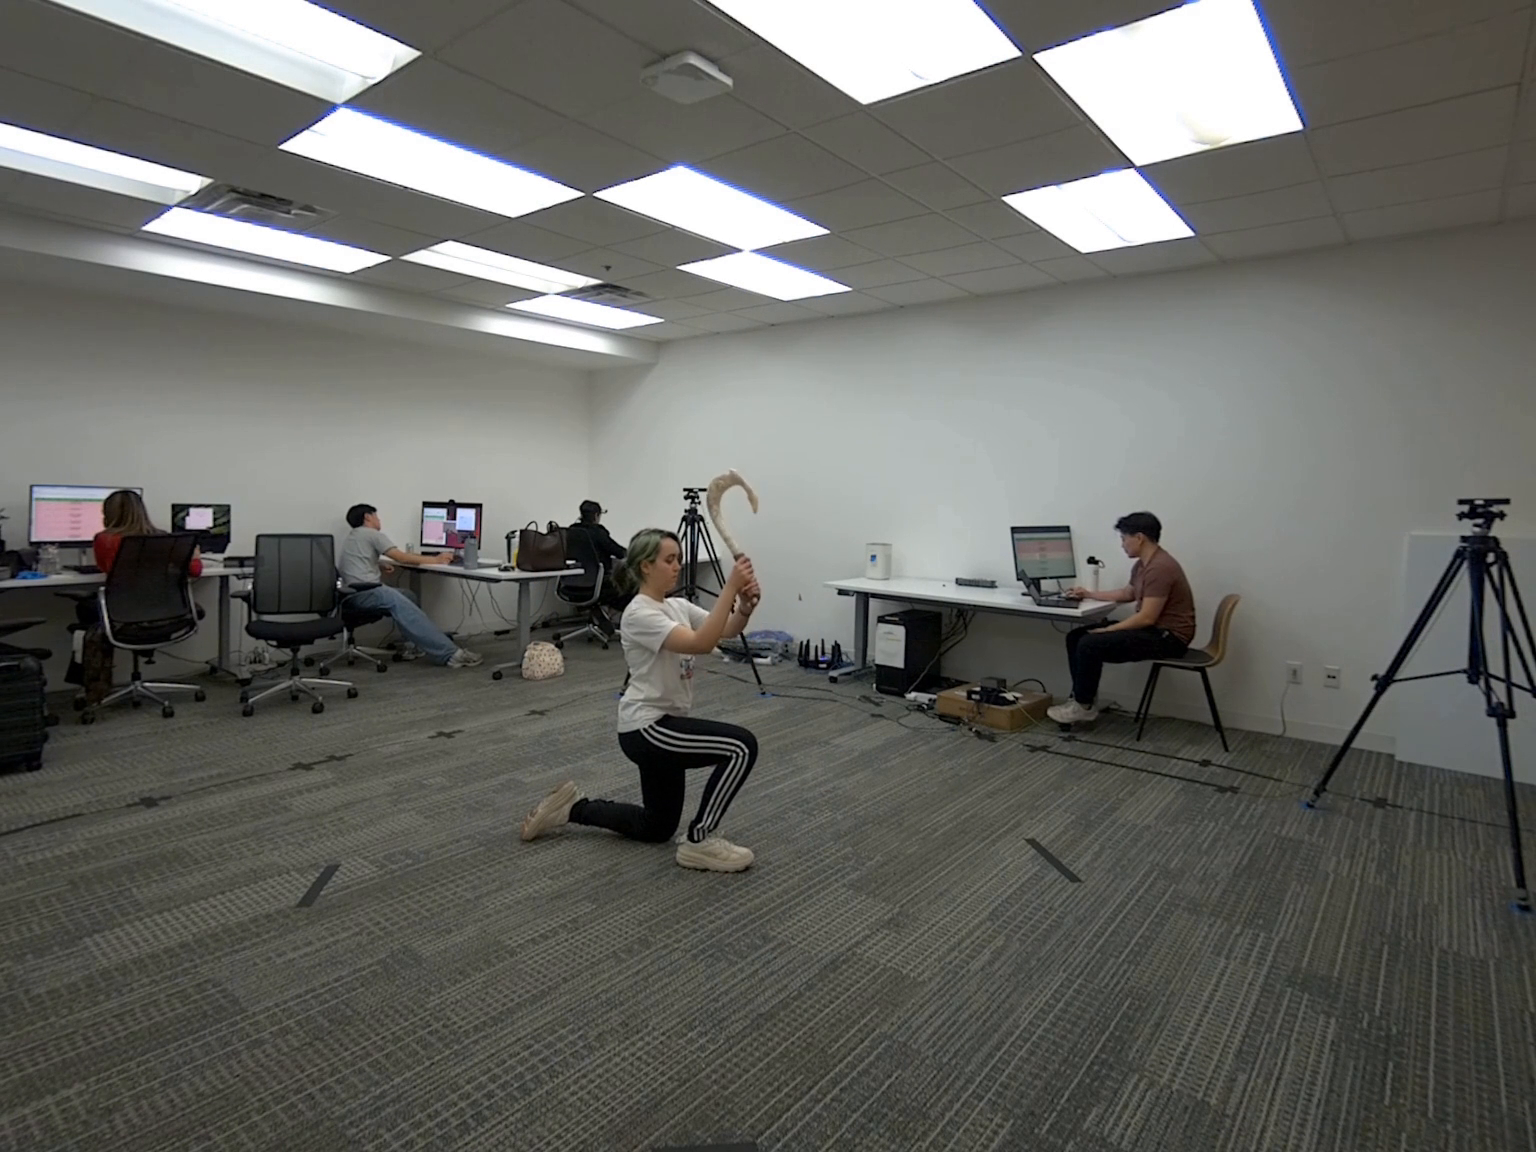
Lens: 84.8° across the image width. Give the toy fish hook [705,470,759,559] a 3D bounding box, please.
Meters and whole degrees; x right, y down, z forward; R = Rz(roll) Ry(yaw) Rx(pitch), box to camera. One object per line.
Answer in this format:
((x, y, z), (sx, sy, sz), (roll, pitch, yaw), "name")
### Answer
((-0.115, -0.145, 3.137), (0.228, 0.513, 0.047), (-26, -12, 39), "toy fish hook")
